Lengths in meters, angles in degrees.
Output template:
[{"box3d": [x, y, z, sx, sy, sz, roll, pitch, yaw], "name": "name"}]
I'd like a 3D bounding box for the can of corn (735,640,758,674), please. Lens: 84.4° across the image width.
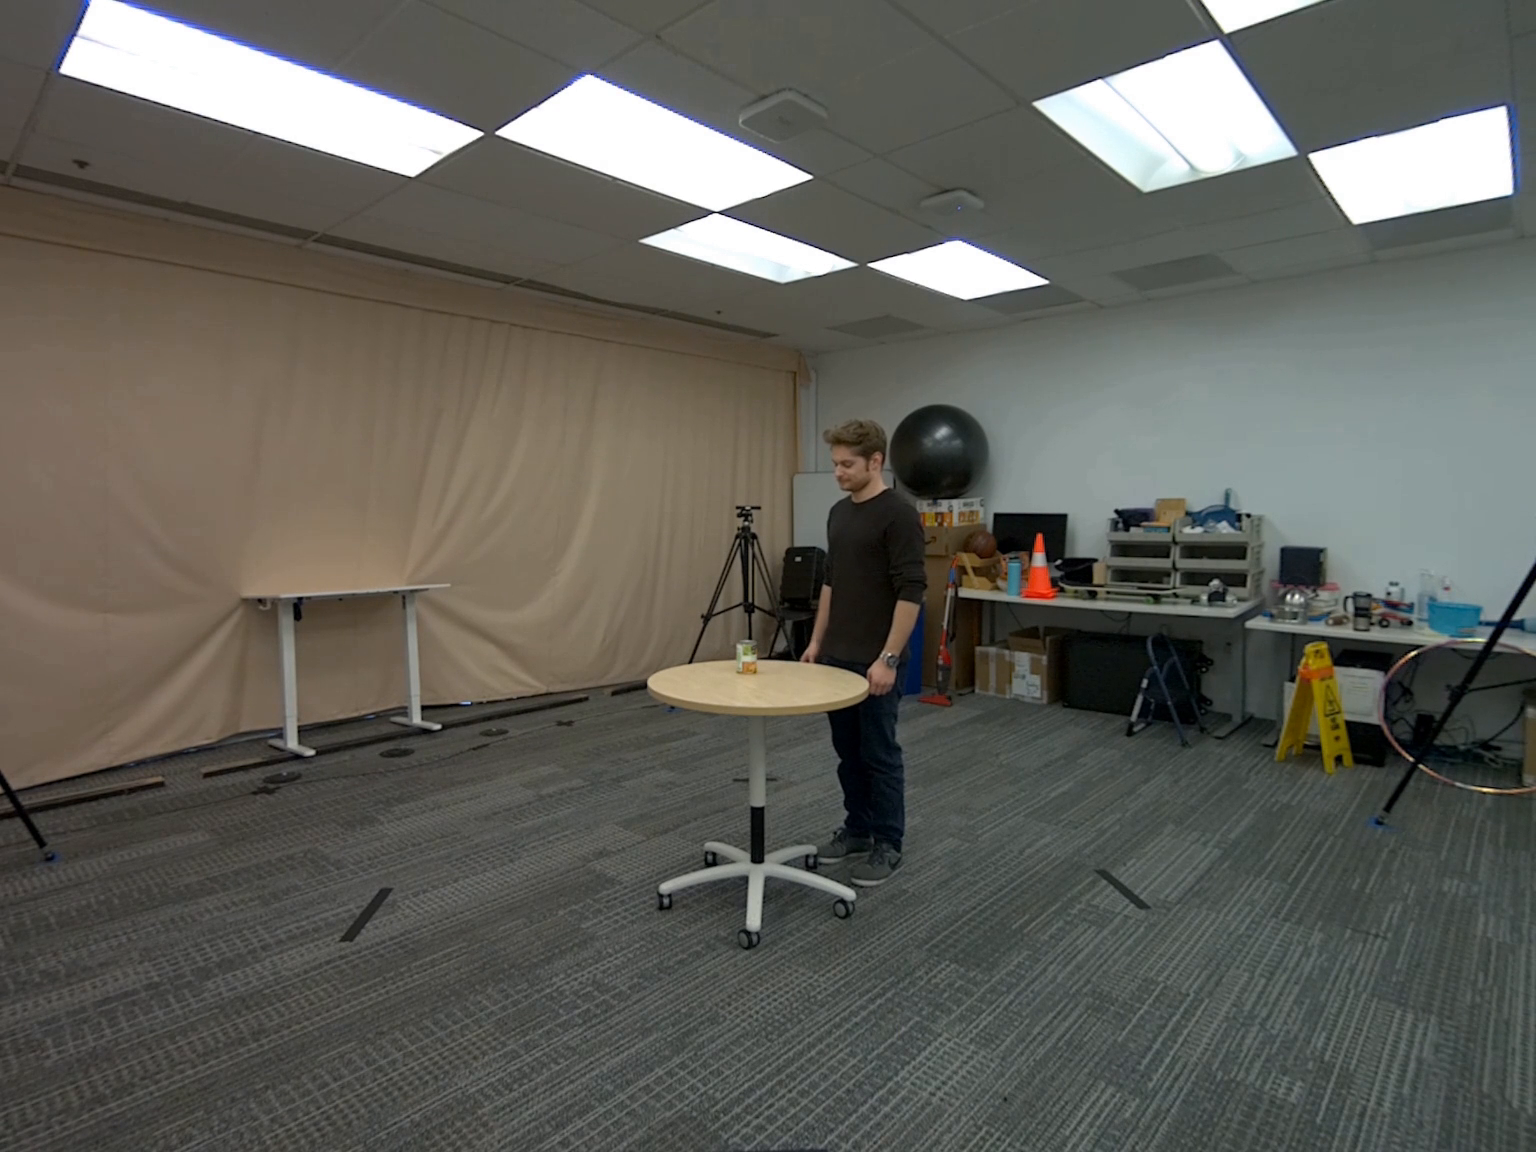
[{"box3d": [-0.072, 0.295, 3.066, 0.074, 0.111, 0.074, -1, 4, -2], "name": "can of corn"}]
